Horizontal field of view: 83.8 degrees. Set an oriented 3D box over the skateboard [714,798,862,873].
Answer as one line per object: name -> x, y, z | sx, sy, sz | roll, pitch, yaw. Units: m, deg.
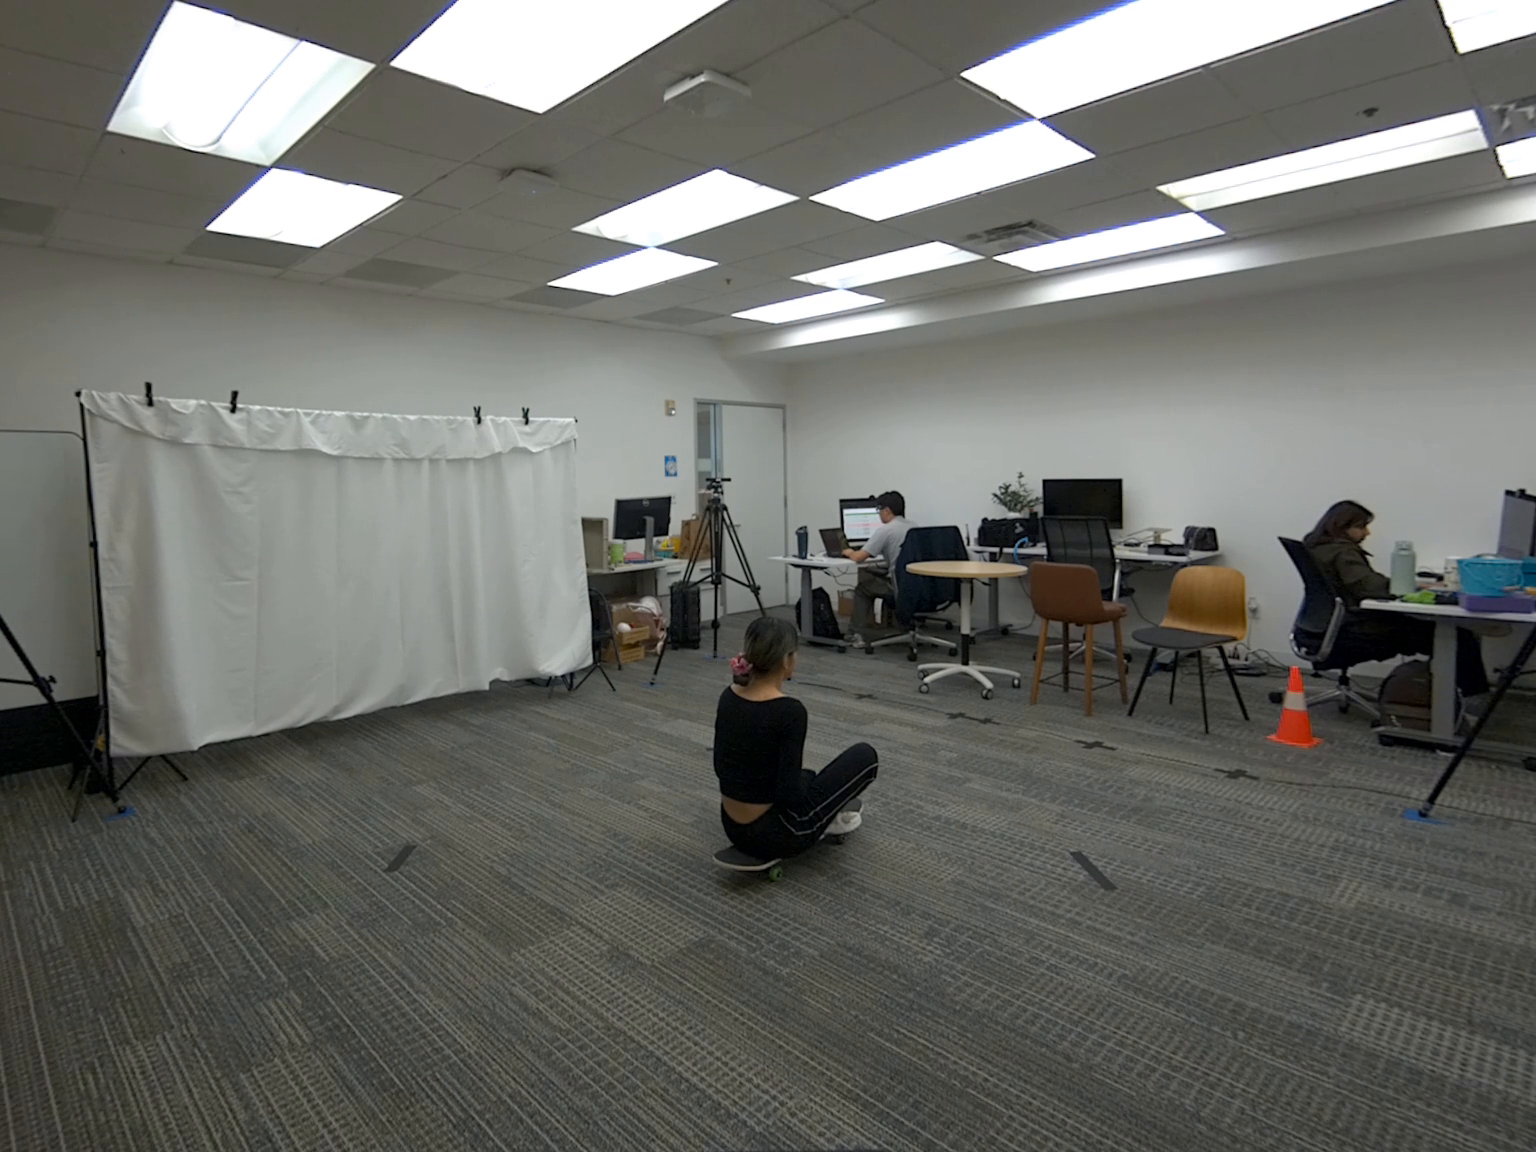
skateboard -> 0.100, 0.974, 3.171 | 0.199, 0.110, 0.767 | 3, 9, 37
